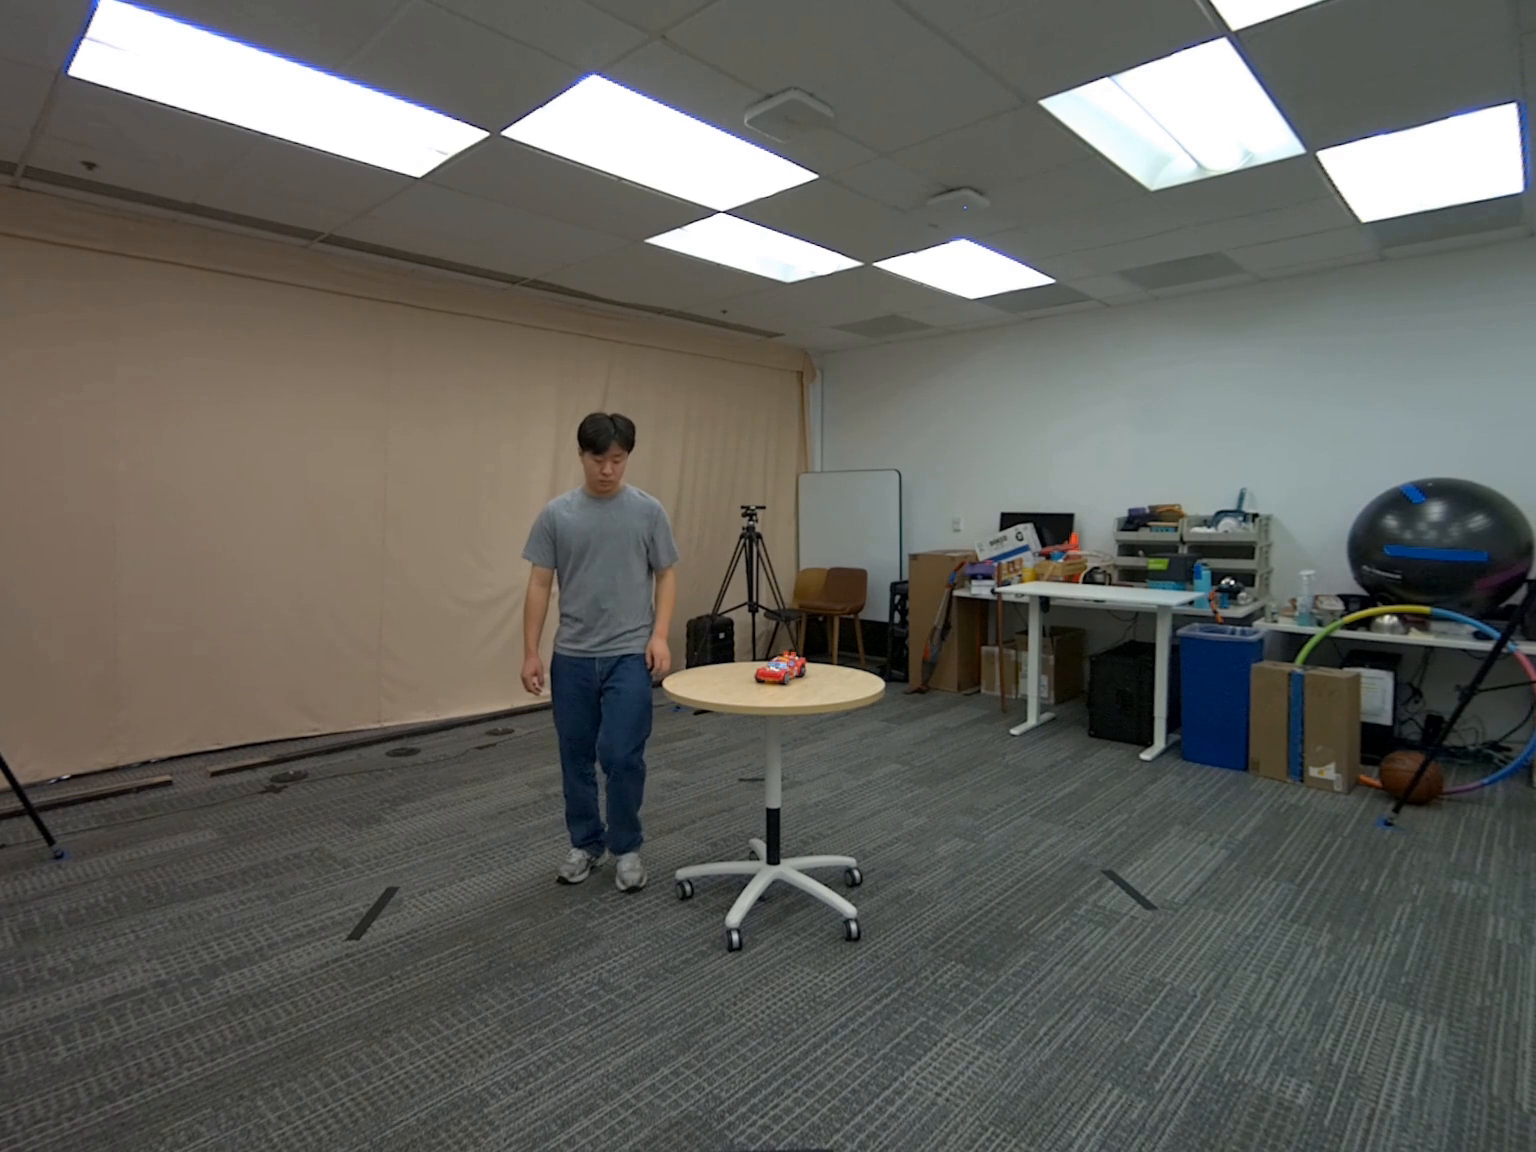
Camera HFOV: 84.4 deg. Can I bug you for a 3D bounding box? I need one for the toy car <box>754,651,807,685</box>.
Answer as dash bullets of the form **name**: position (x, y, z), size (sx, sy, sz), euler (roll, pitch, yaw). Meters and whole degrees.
- **toy car**: position (0.054, 0.330, 2.958), size (0.134, 0.082, 0.250), euler (1, 15, 26)
